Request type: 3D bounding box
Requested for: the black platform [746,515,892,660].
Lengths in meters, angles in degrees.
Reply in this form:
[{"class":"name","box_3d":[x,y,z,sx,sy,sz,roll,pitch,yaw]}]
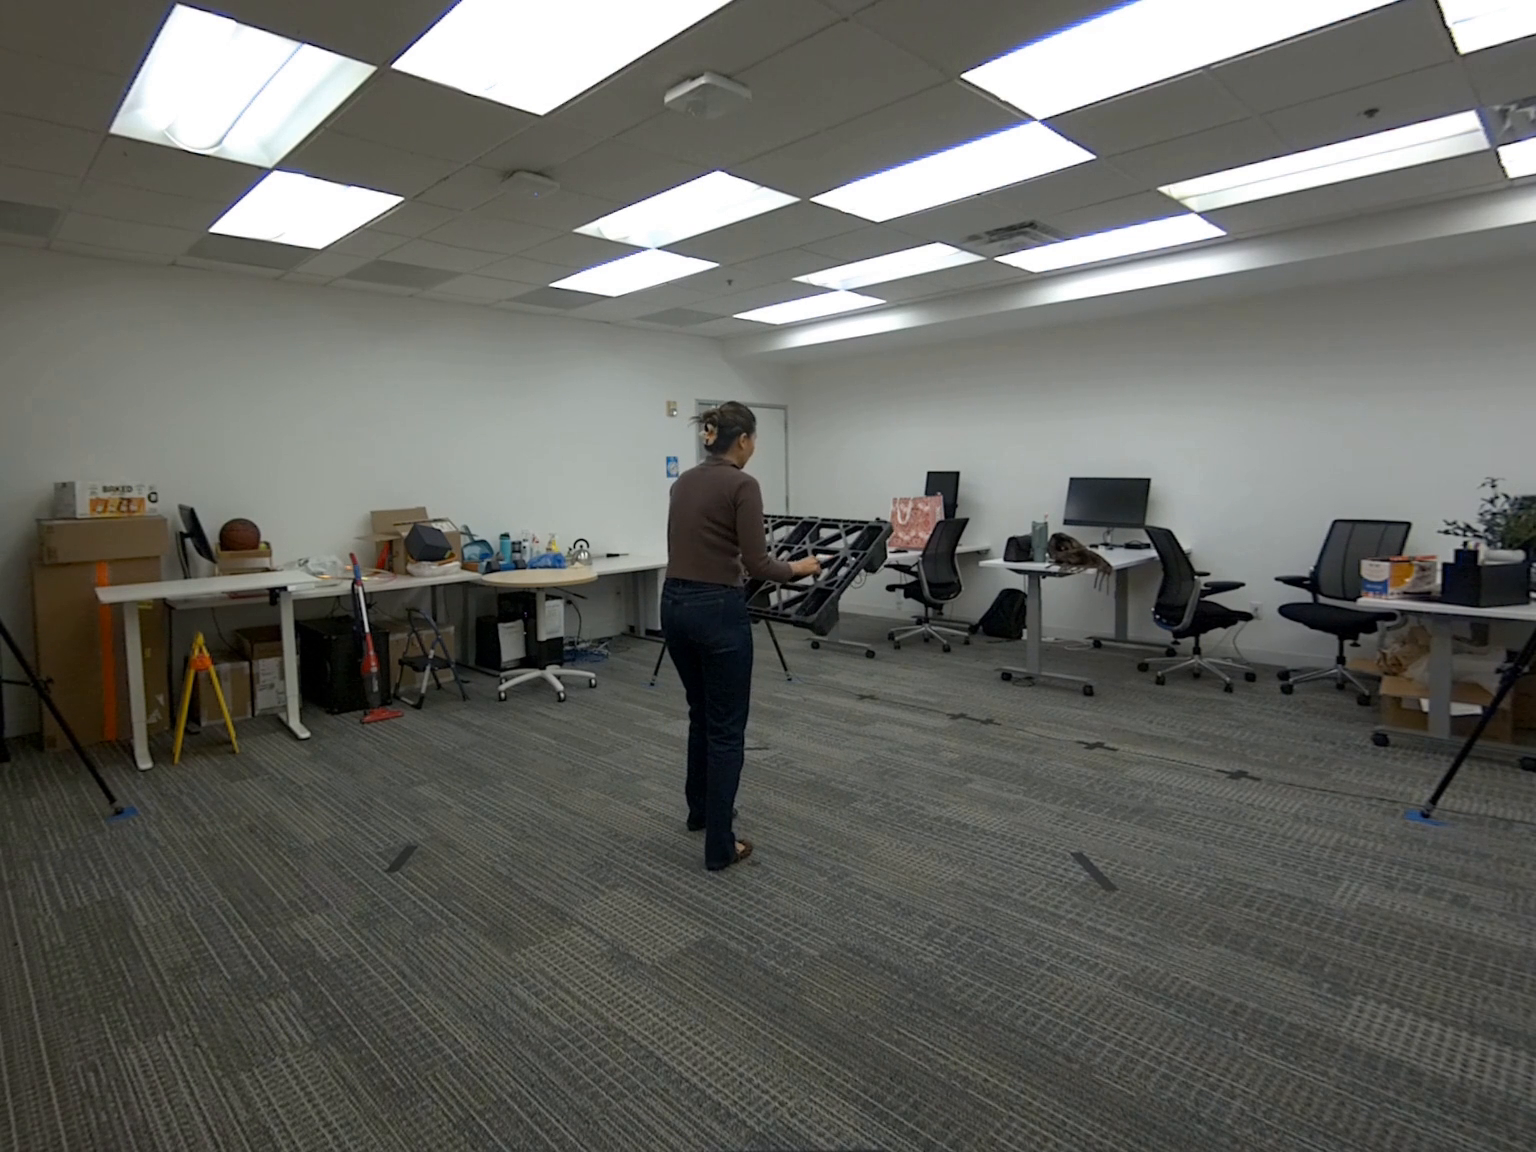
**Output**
[{"class":"black platform","box_3d":[0.051,-0.014,3.484,0.831,0.139,0.605,7,44,44]}]
